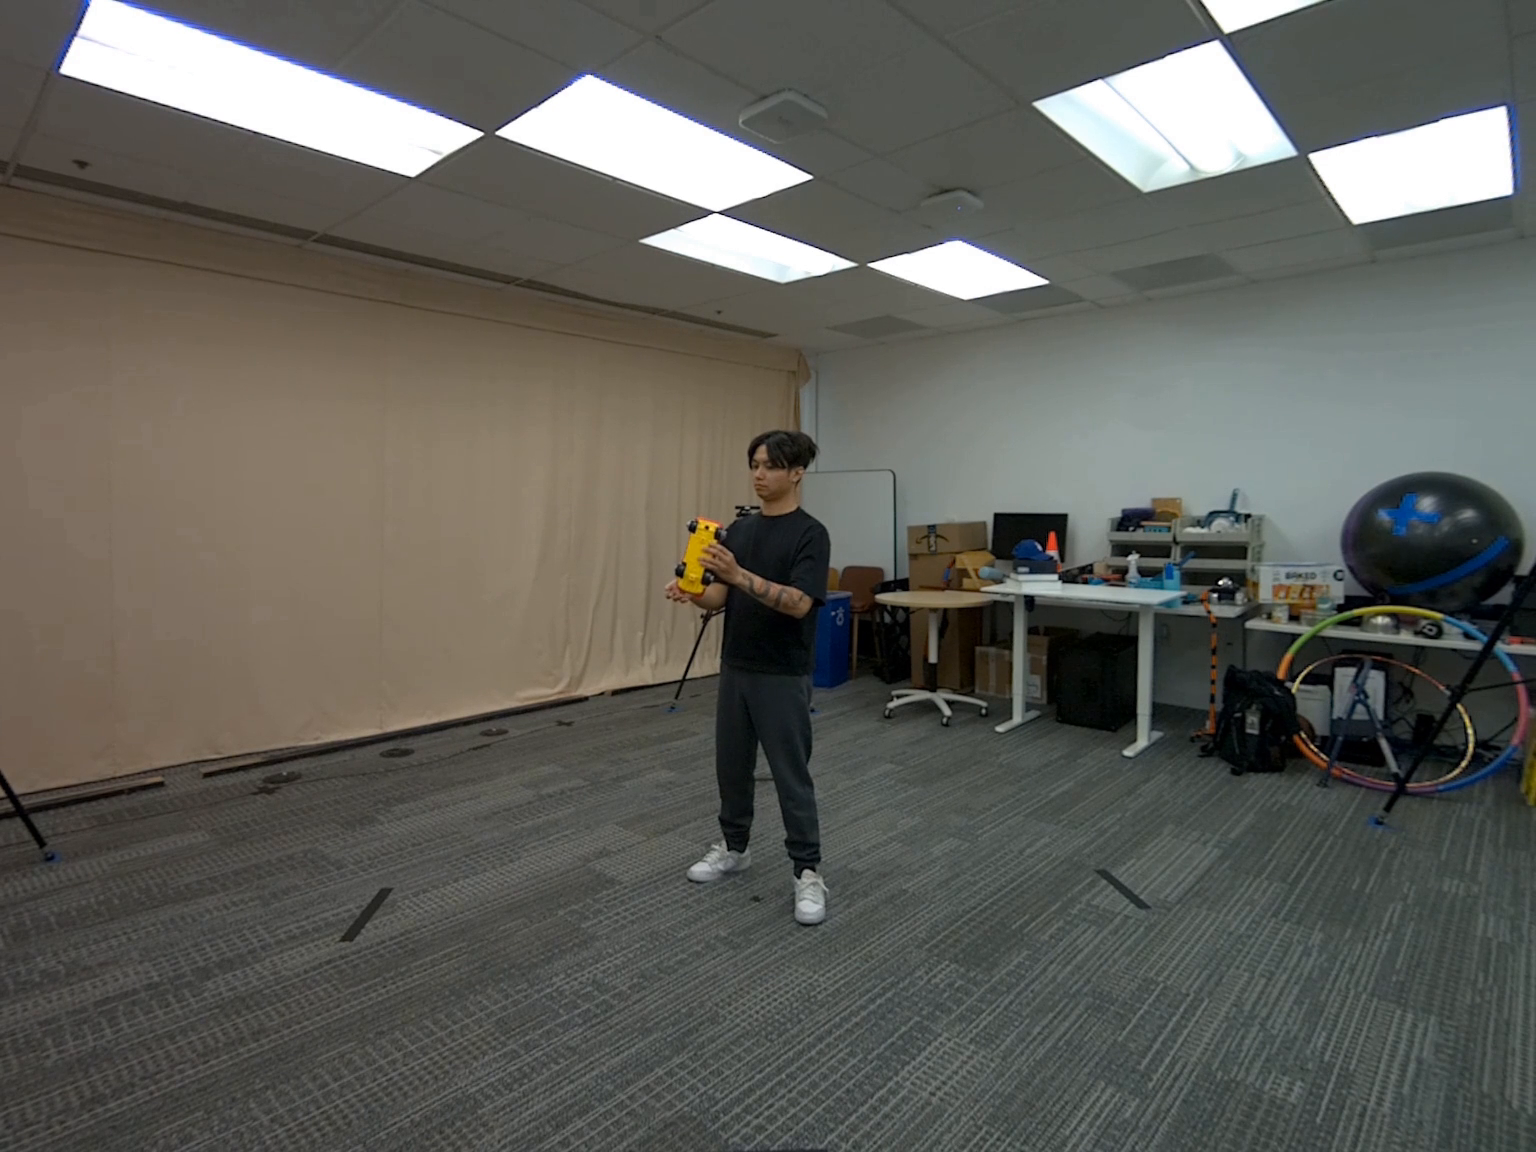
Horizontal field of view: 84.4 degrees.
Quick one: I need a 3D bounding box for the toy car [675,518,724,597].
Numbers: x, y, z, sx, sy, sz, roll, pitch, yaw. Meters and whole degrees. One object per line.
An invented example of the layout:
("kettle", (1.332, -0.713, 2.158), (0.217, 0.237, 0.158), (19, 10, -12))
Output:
("toy car", (-0.213, -0.052, 2.687), (0.132, 0.253, 0.082), (15, 11, 11))
